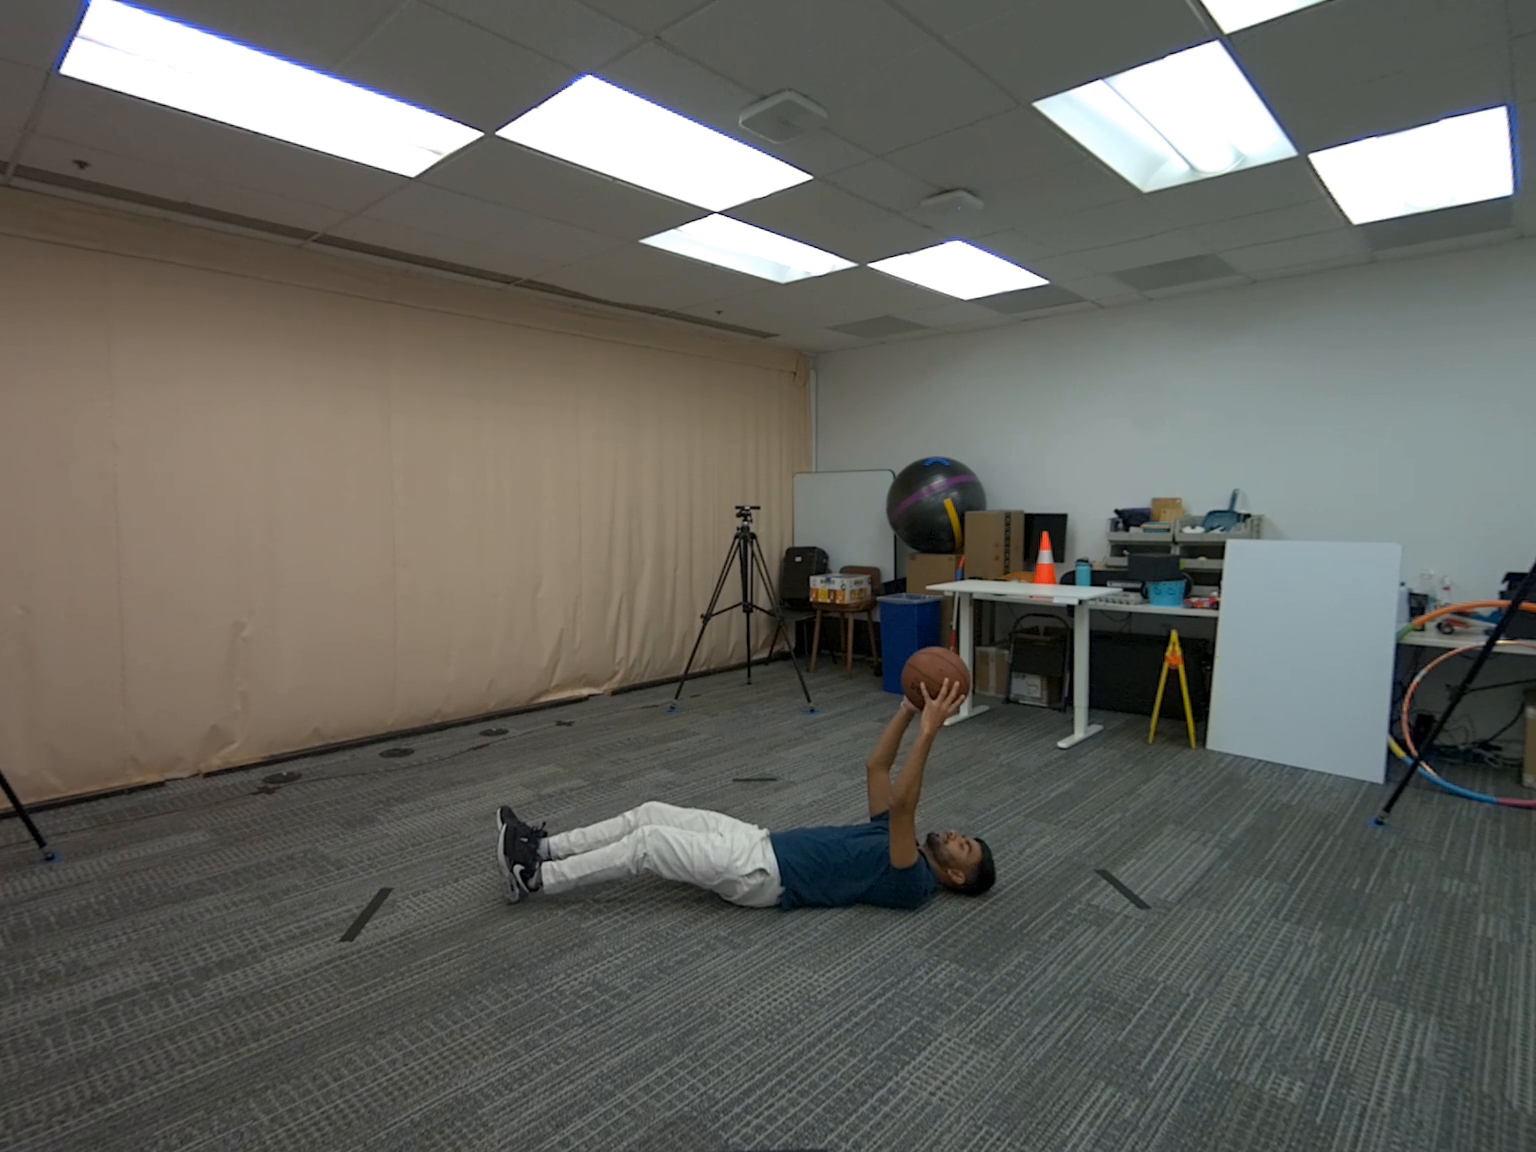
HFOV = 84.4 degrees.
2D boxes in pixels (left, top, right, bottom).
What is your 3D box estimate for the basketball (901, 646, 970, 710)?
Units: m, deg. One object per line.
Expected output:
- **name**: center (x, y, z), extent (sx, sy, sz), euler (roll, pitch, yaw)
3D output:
- **basketball**: center (0.606, 0.375, 3.007), extent (0.236, 0.235, 0.237), euler (0, 4, -2)
